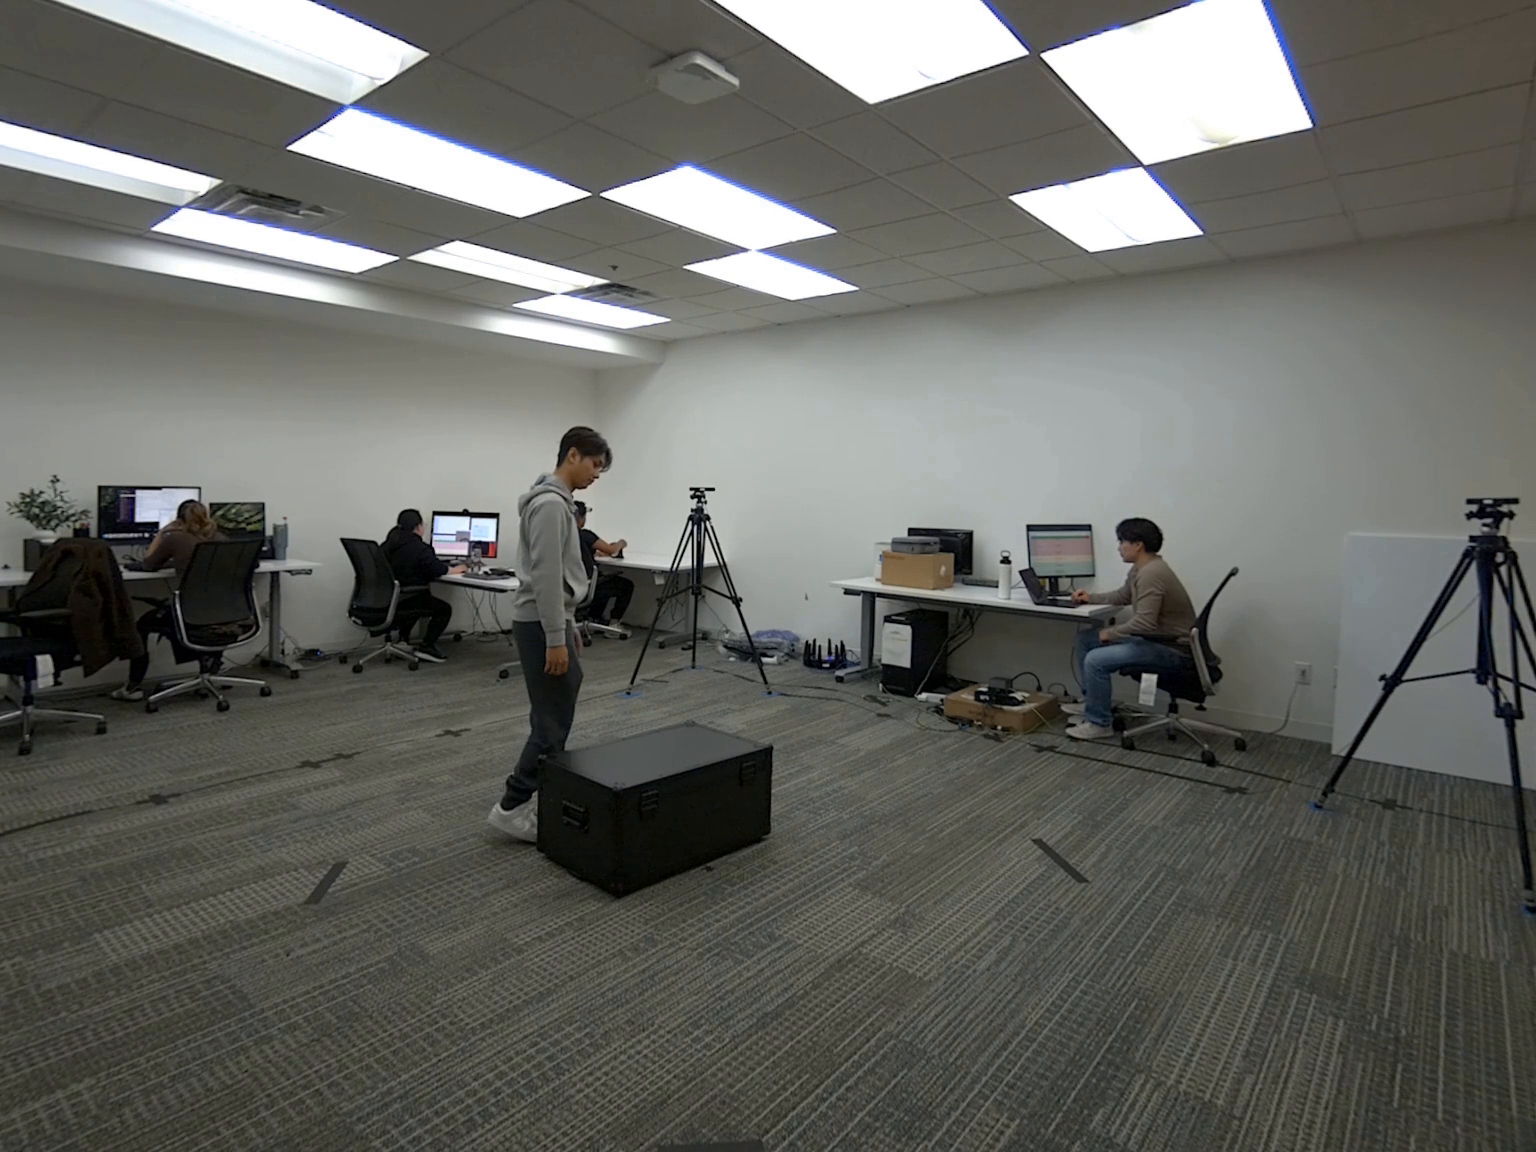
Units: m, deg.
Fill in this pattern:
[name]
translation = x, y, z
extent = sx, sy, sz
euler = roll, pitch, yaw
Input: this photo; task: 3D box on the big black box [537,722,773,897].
[big black box]
translation = -0.410, 0.856, 3.292
extent = 0.539, 0.395, 0.836
euler = 5, 7, 43
